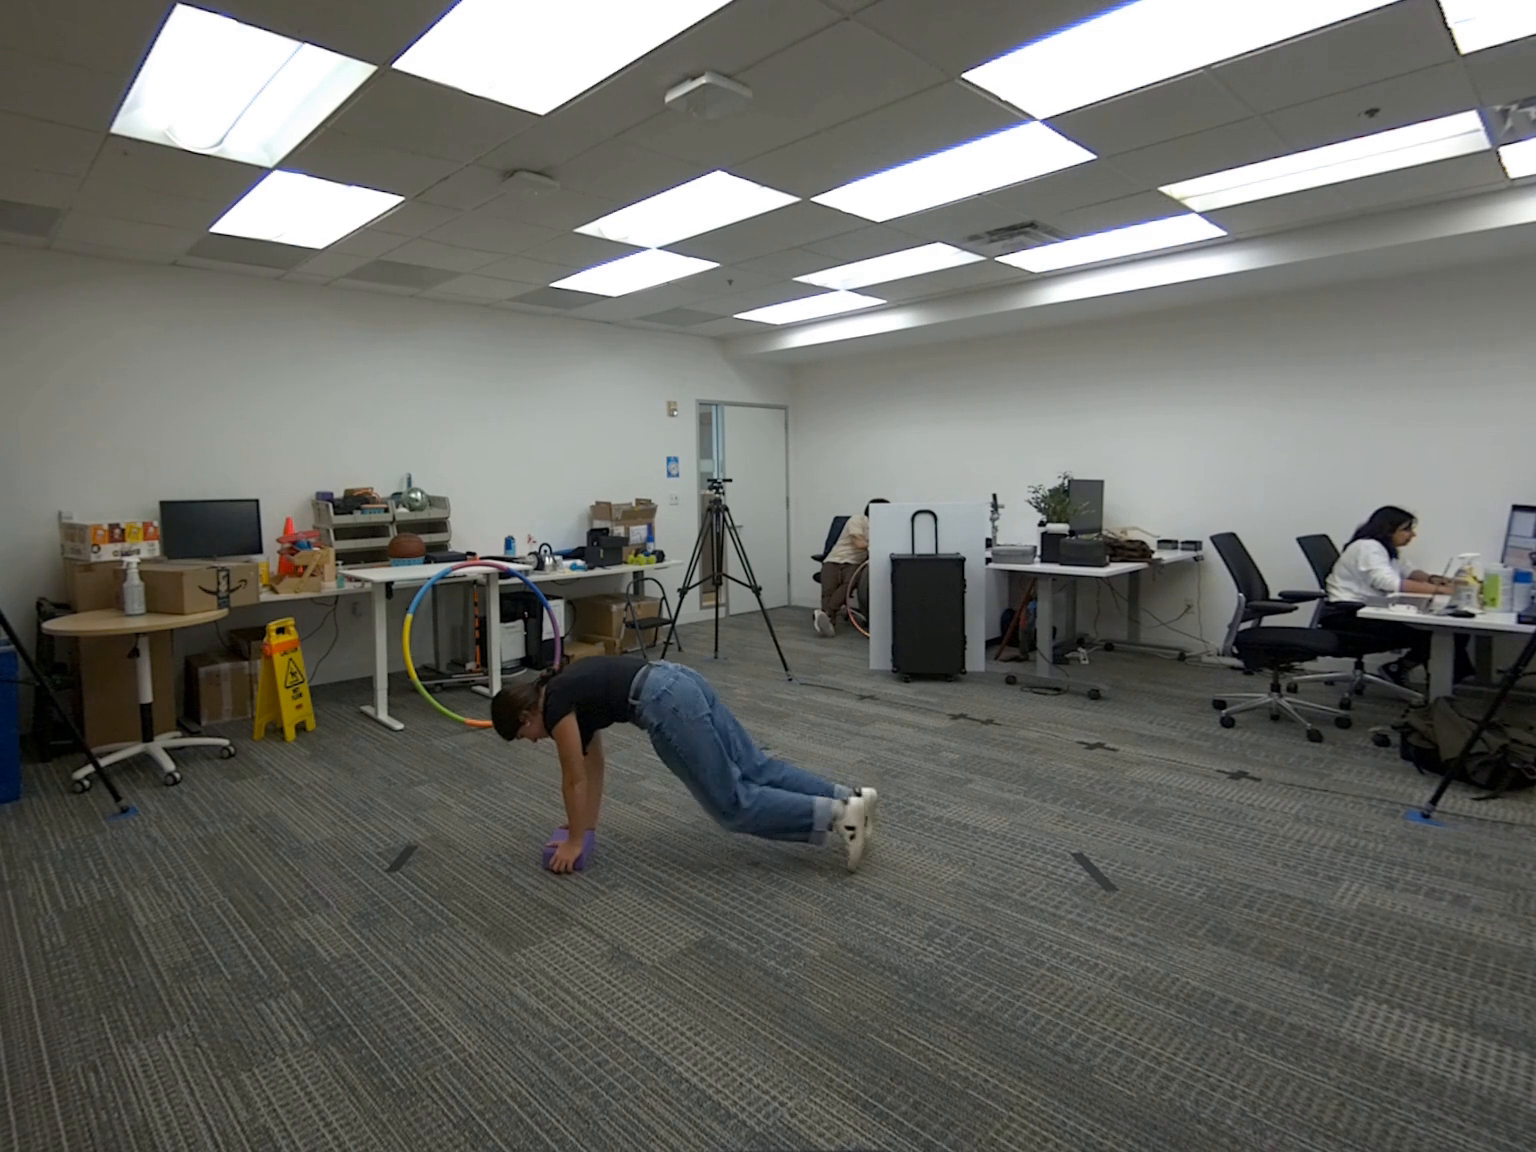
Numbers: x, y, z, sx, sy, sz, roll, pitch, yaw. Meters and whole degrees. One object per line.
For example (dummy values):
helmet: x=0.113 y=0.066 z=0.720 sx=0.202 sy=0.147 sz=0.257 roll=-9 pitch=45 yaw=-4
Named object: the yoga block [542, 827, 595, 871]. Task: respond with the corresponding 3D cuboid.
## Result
yoga block: x=-0.741 y=1.010 z=3.199 sx=0.149 sy=0.076 sz=0.230 roll=1 pitch=7 yaw=0
